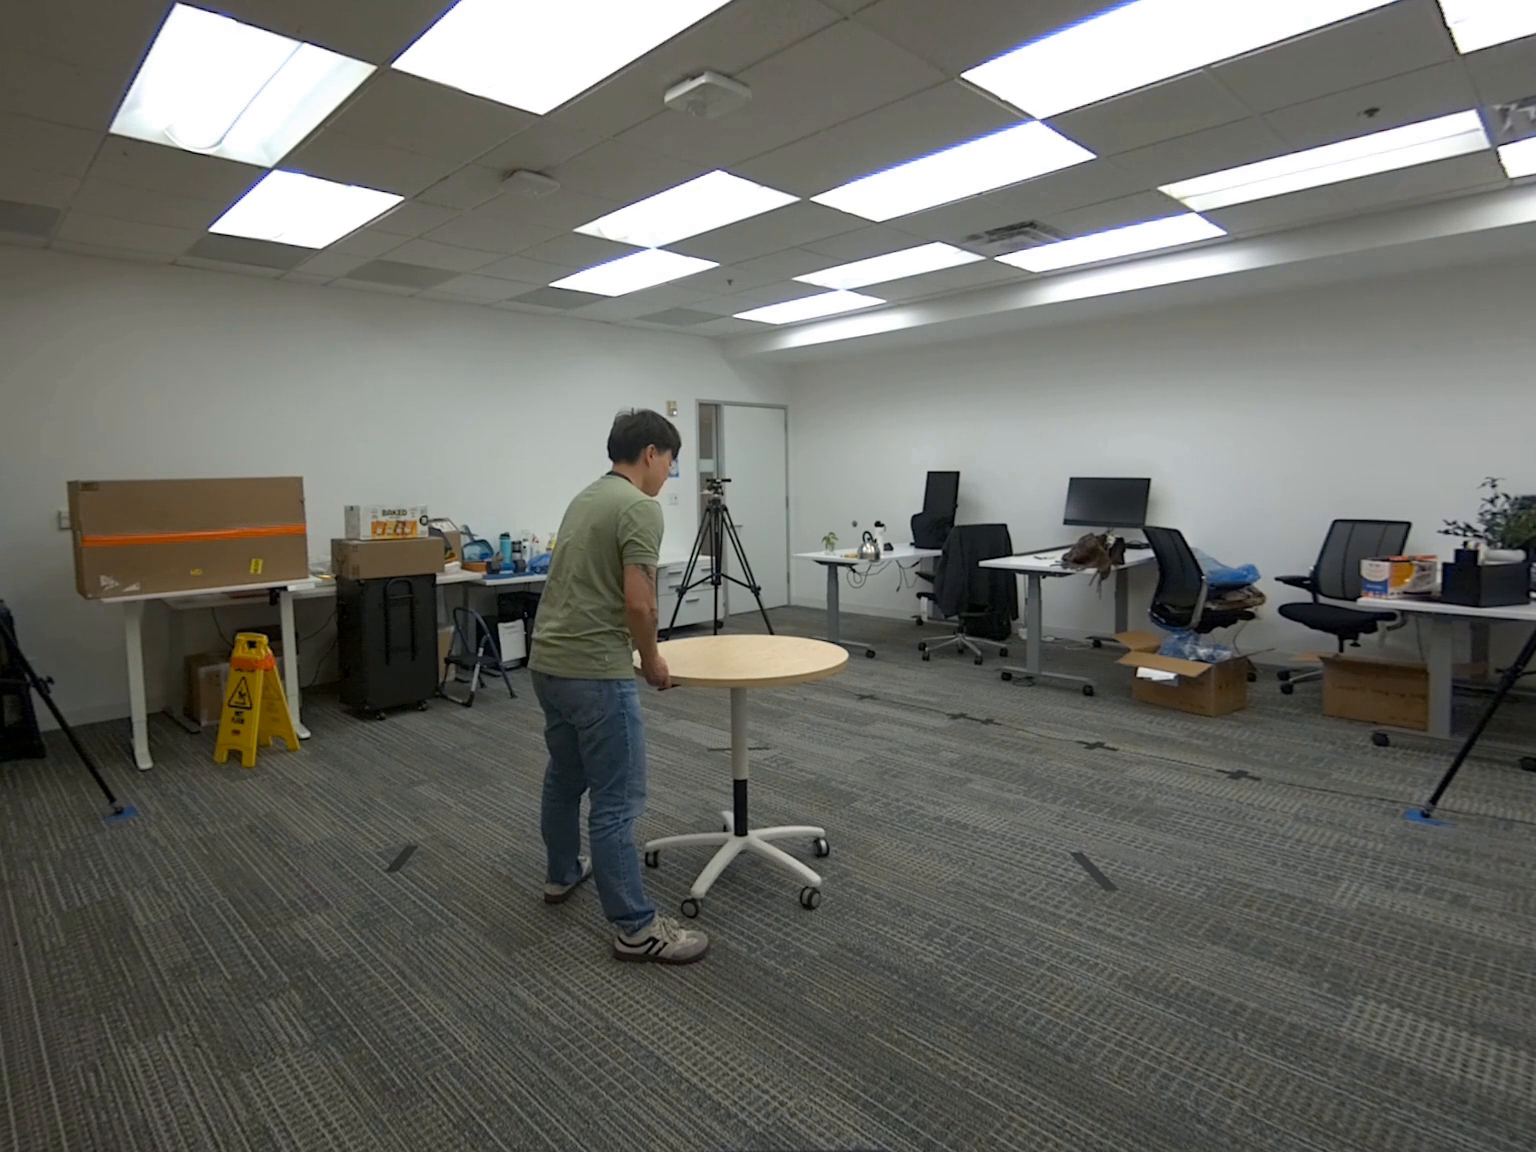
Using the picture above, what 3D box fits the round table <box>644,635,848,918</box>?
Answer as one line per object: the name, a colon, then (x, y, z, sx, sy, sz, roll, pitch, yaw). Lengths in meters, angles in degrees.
round table: (-0.102, 0.665, 3.016, 0.763, 0.791, 0.768, -1, 5, -2)
